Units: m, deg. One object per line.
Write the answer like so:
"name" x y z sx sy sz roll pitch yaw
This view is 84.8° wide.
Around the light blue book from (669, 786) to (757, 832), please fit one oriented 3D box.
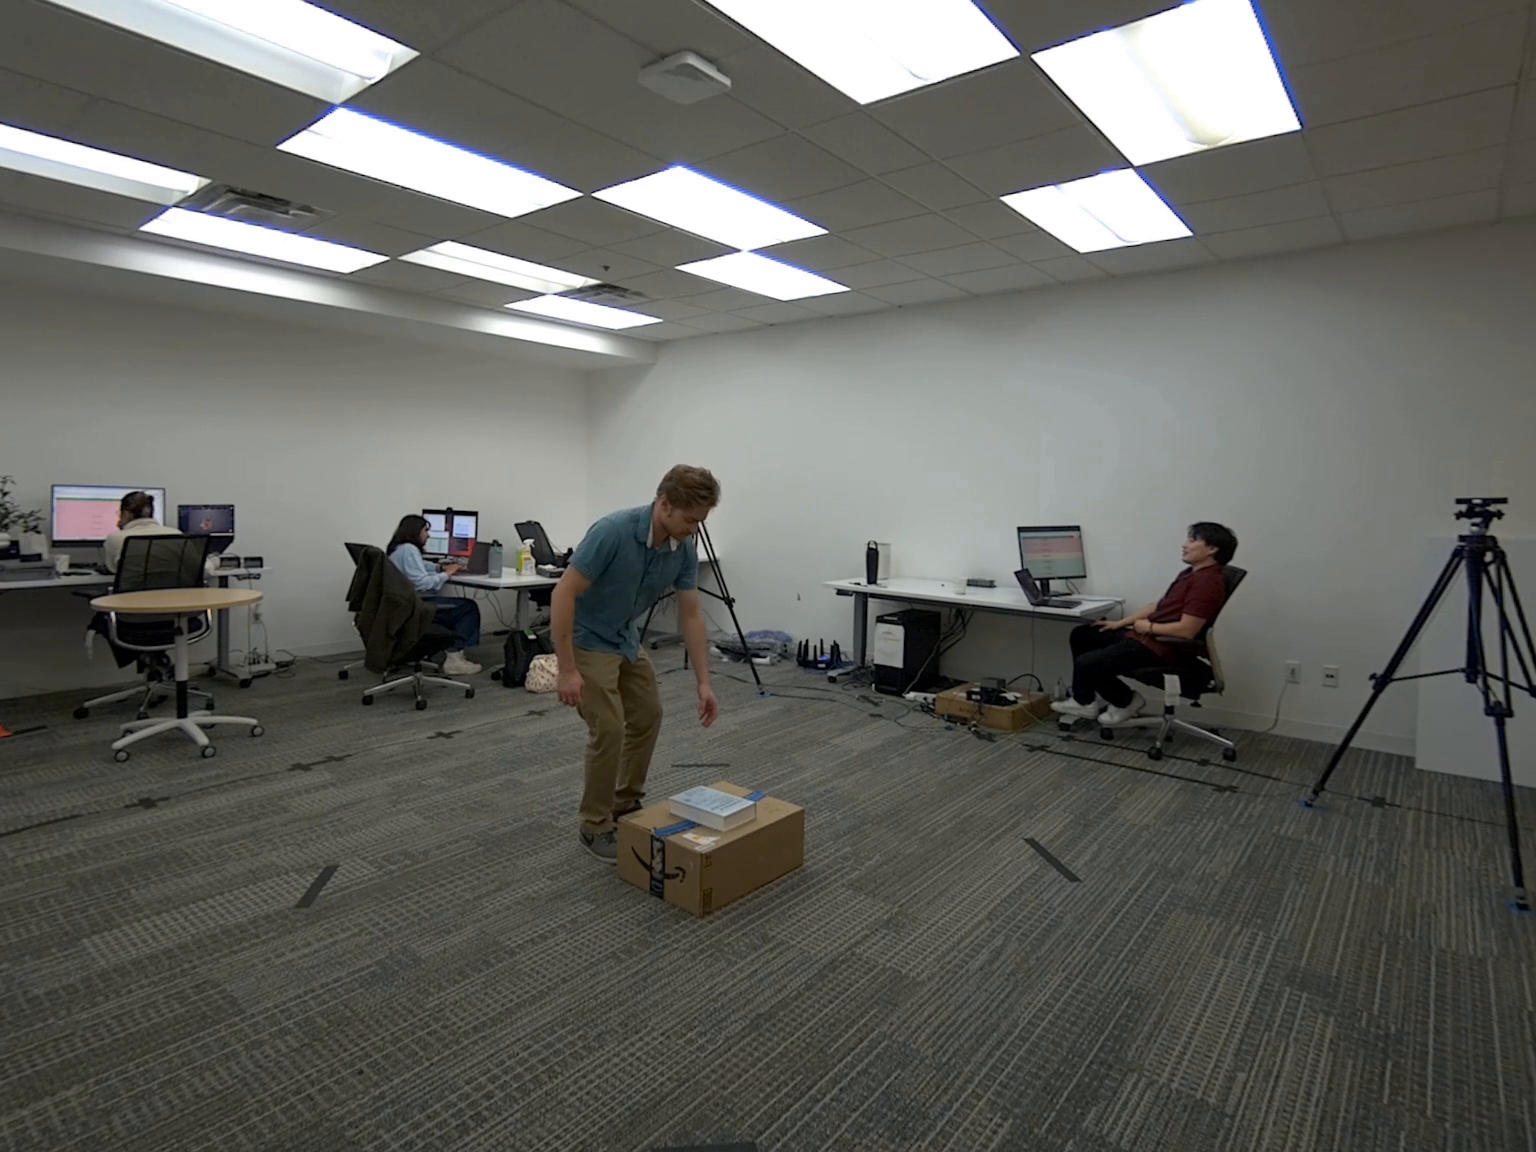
"light blue book" -0.210 0.832 3.077 0.270 0.059 0.186 5 7 37
